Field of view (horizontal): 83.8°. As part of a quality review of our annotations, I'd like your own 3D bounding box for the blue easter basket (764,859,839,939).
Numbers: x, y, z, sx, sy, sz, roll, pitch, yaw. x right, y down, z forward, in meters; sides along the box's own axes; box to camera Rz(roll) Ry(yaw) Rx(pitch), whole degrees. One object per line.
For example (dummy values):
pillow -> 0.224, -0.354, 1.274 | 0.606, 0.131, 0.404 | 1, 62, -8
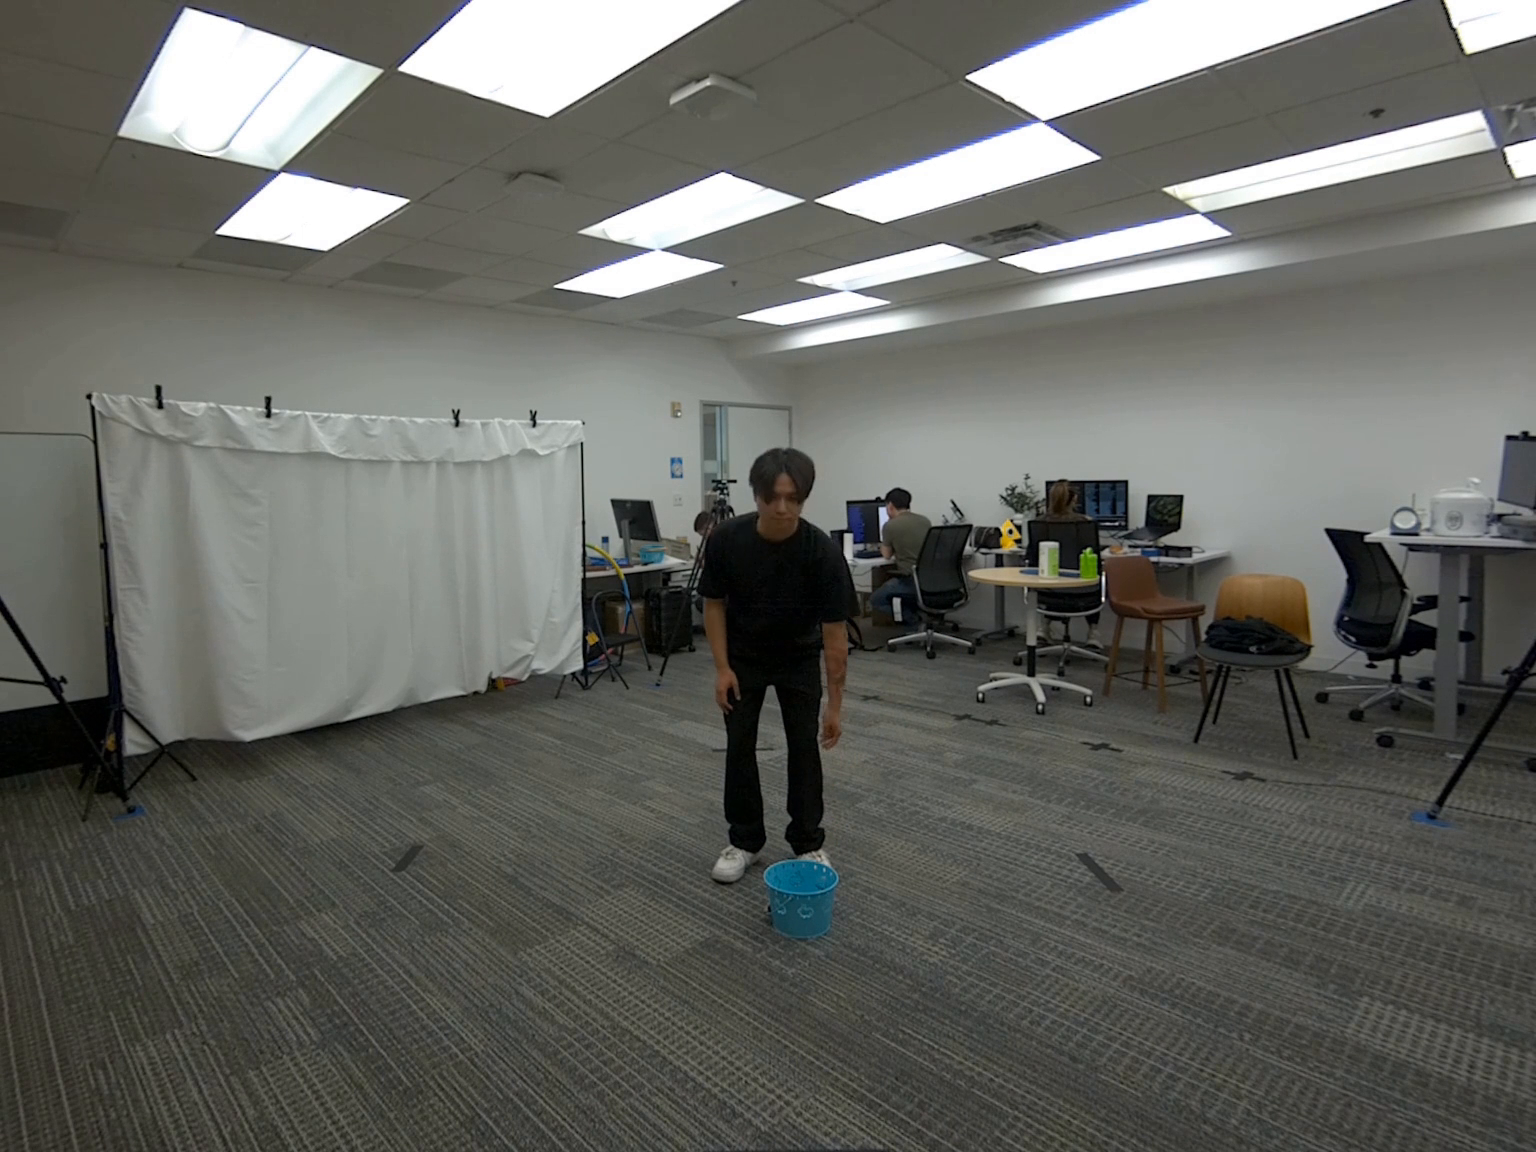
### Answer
blue easter basket -> 0.111, 1.017, 2.683 | 0.243, 0.155, 0.245 | -1, 6, -2
